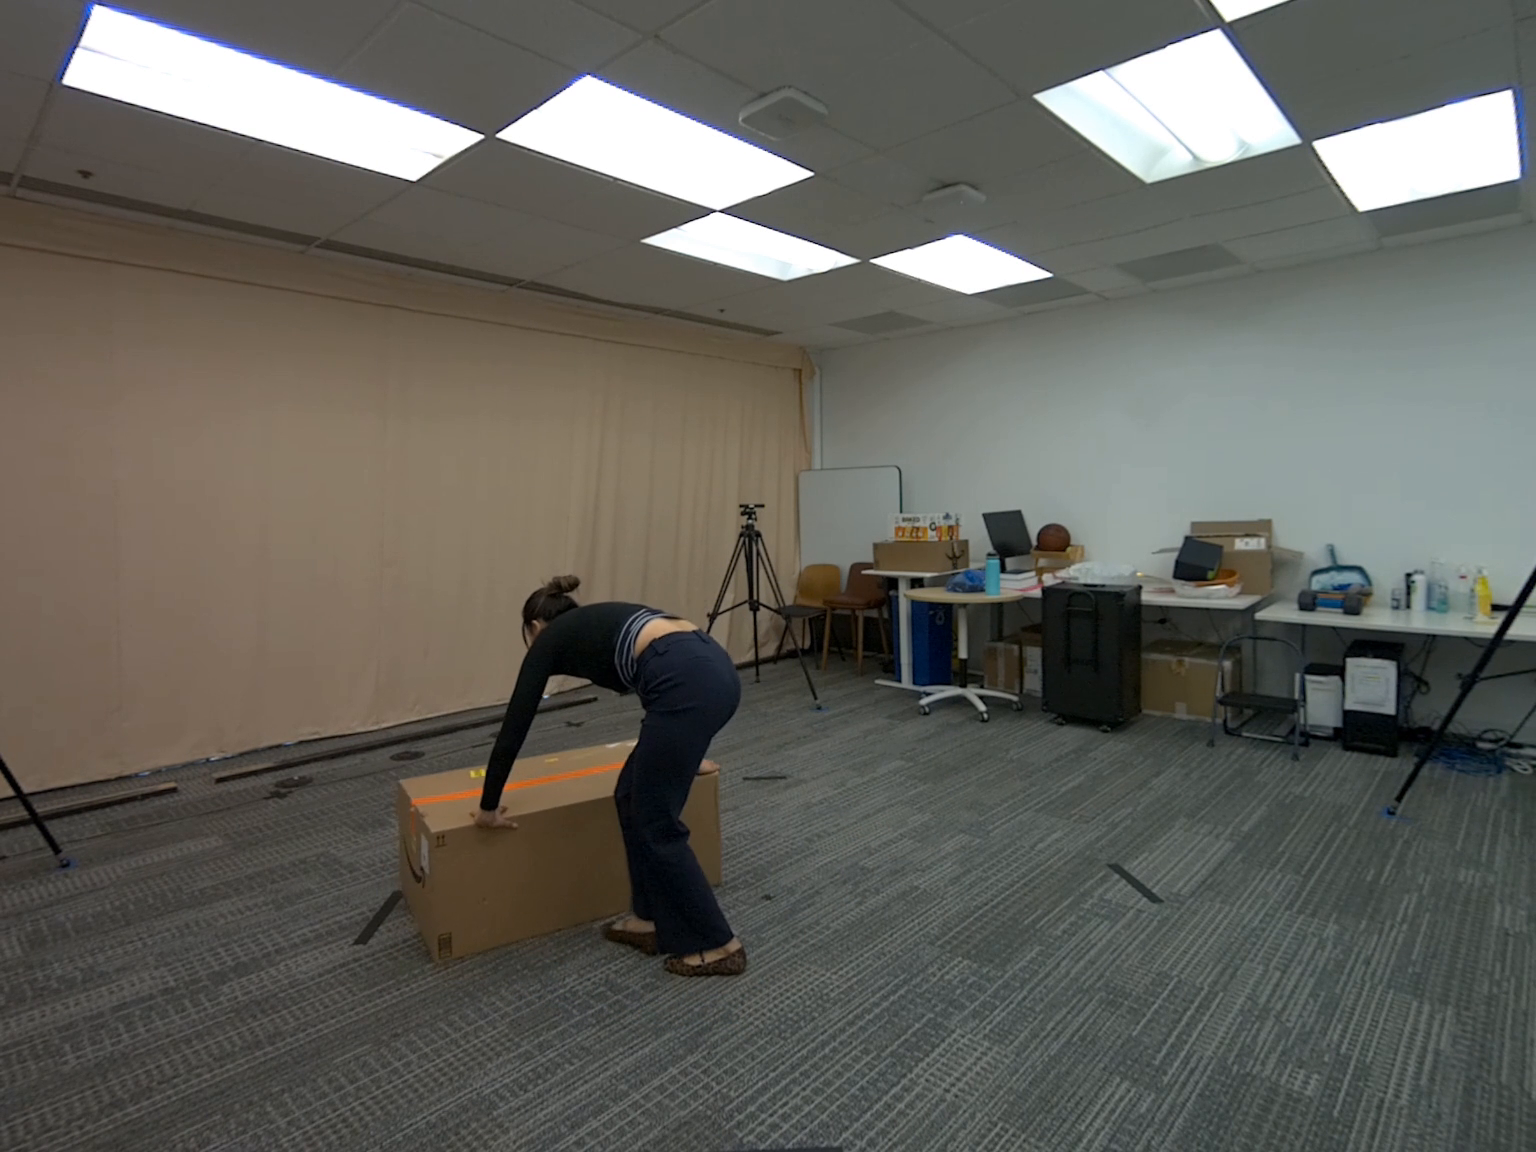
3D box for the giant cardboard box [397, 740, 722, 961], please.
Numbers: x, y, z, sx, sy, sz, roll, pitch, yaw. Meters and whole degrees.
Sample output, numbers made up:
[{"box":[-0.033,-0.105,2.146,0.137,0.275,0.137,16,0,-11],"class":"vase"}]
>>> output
[{"box":[-0.758,0.934,3.071,0.998,0.425,0.595,-4,6,-31],"class":"giant cardboard box"}]
